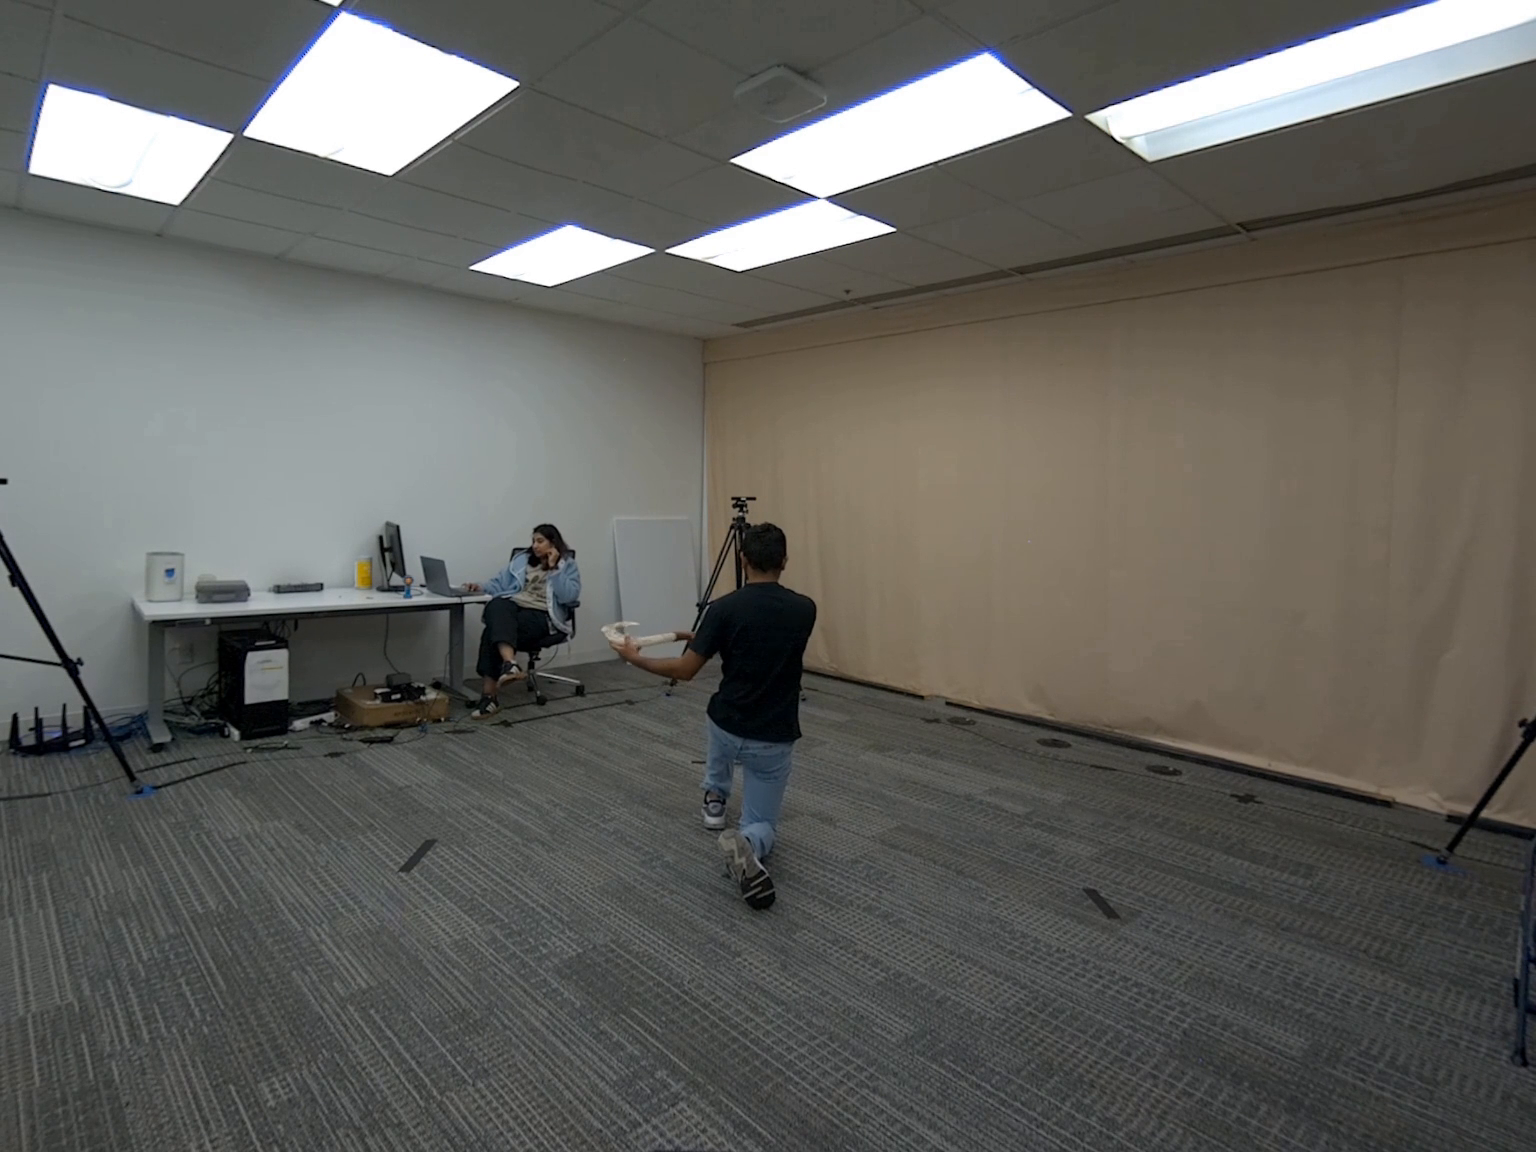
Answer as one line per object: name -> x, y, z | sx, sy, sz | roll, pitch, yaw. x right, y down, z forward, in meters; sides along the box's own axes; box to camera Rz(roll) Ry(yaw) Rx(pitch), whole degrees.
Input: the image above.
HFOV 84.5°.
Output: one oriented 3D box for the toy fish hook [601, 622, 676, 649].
toy fish hook -> -0.458, 0.246, 3.666 | 0.496, 0.048, 0.232 | 0, 27, -31
